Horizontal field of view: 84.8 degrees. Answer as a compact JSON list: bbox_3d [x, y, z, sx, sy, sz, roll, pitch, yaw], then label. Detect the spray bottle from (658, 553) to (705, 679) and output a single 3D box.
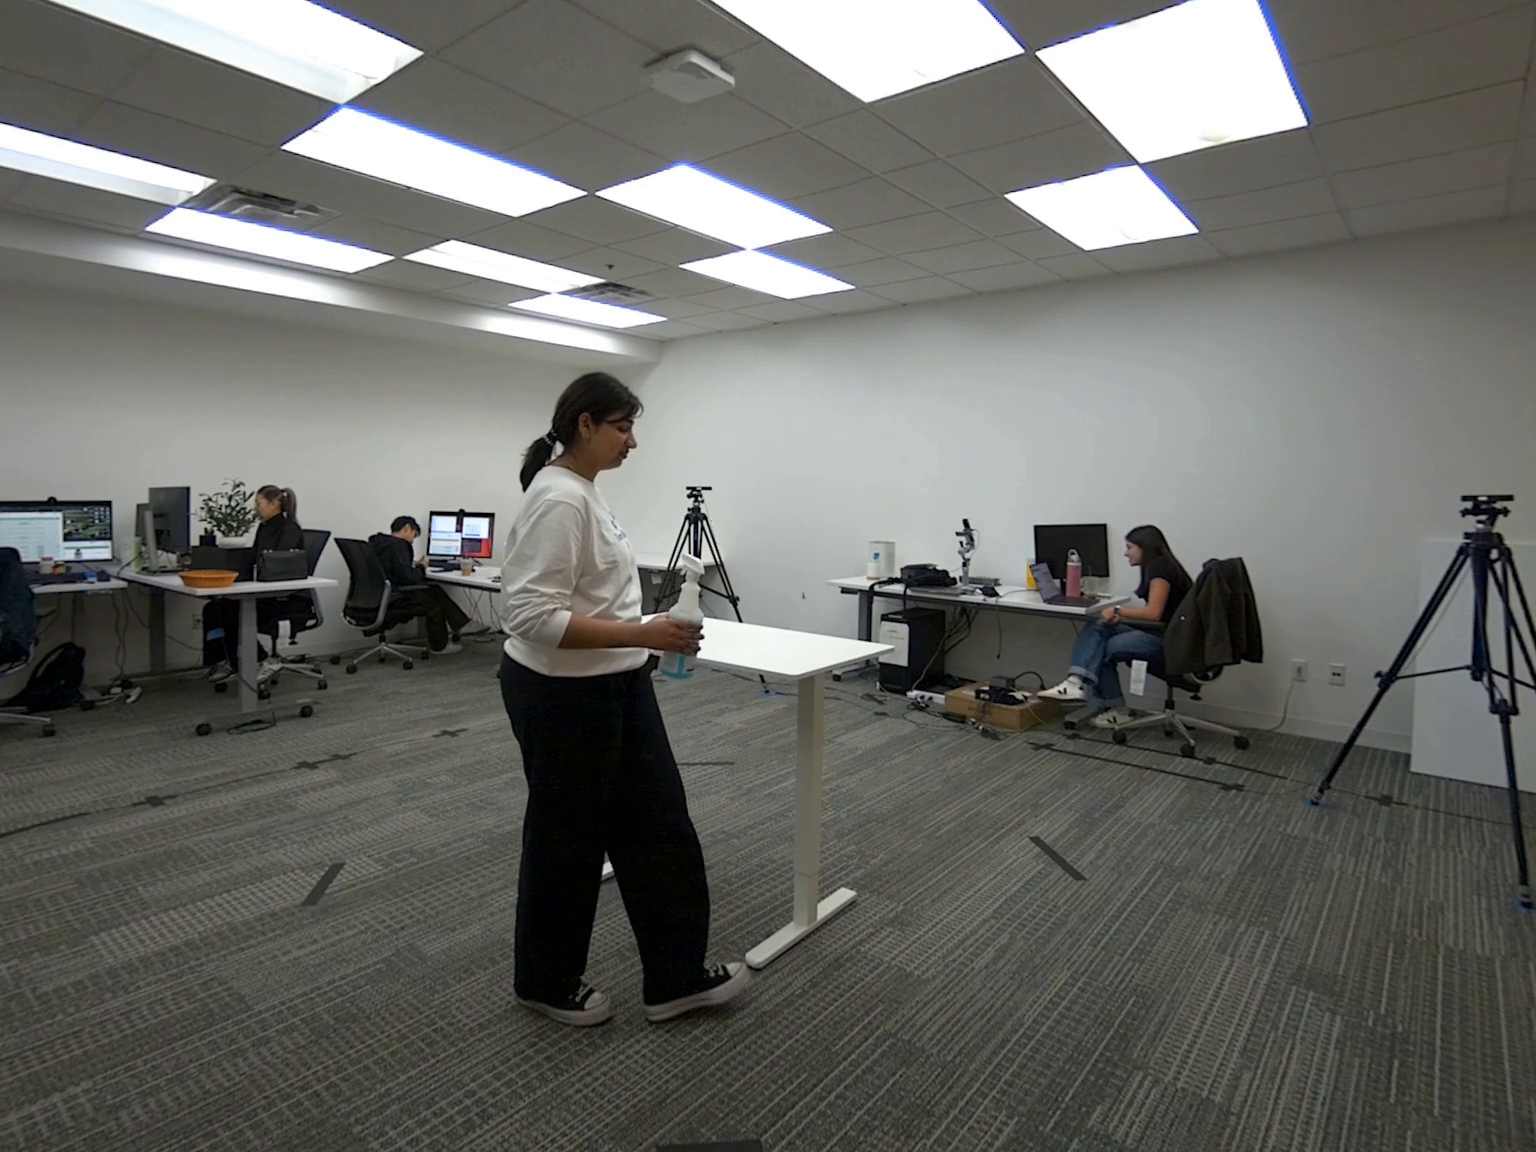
[{"bbox_3d":[-0.205,0.103,2.079,0.086,0.295,0.092,6,8,-14],"label":"spray bottle"}]
